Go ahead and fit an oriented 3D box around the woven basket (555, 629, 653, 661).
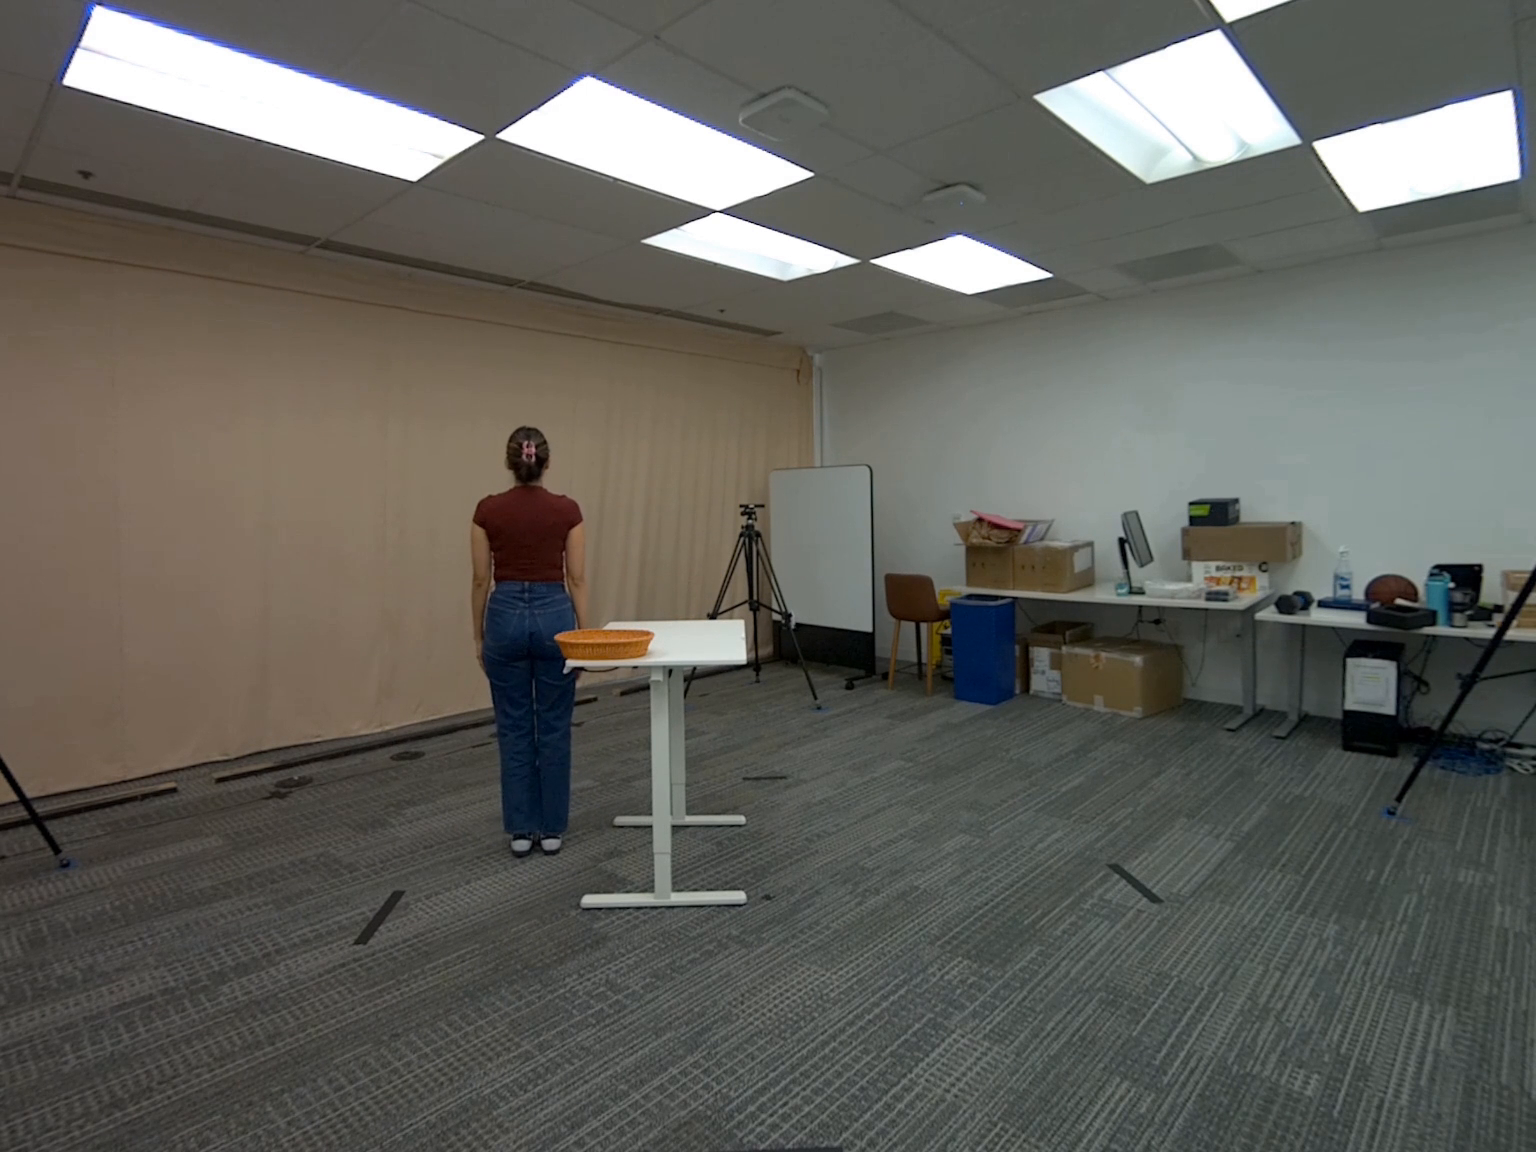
[{"bbox_3d":[-0.564,0.240,2.907,0.354,0.073,0.250,0,6,9],"label":"woven basket"}]
